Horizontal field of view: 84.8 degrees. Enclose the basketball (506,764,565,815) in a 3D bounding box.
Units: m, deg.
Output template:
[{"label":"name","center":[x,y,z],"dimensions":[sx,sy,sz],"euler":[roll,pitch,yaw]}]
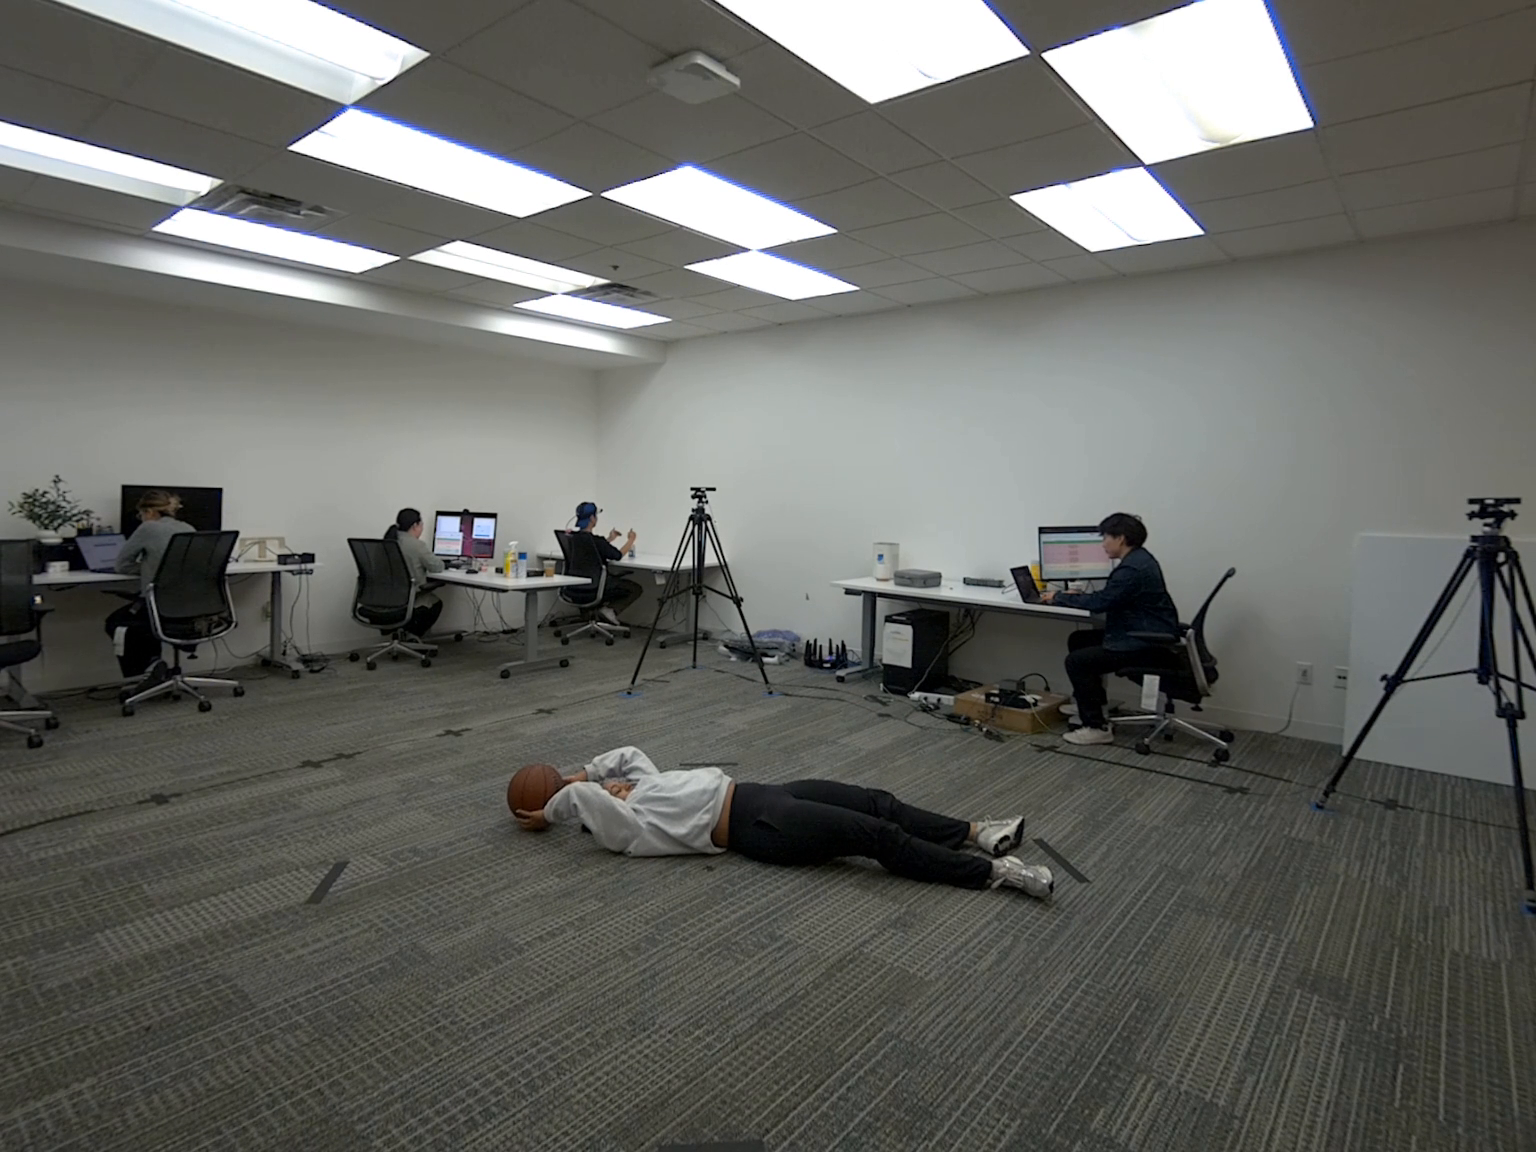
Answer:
[{"label":"basketball","center":[-0.960,0.889,3.504],"dimensions":[0.236,0.234,0.238],"euler":[-2,8,-2]}]
